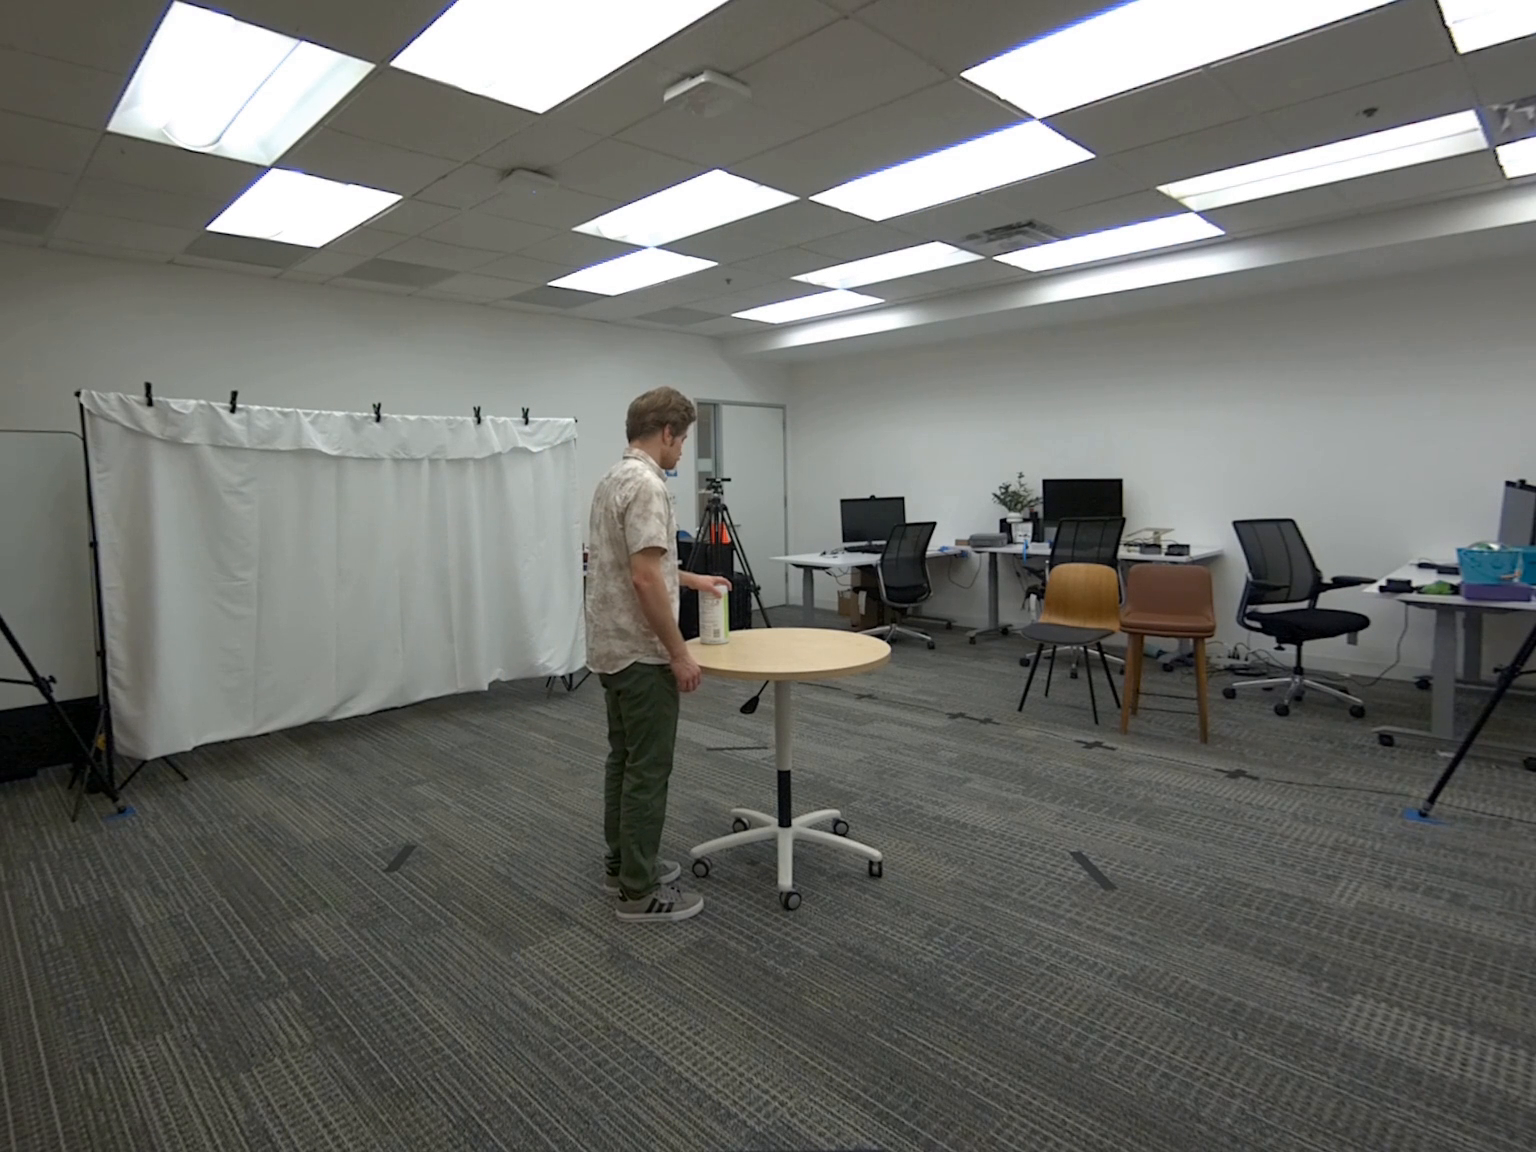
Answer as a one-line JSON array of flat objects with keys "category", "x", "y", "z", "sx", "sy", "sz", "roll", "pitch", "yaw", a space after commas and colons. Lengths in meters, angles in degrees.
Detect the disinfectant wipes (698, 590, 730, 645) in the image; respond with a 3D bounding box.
[{"category": "disinfectant wipes", "x": -0.196, "y": 0.142, "z": 3.173, "sx": 0.118, "sy": 0.217, "sz": 0.118, "roll": -2, "pitch": 2, "yaw": -2}]
